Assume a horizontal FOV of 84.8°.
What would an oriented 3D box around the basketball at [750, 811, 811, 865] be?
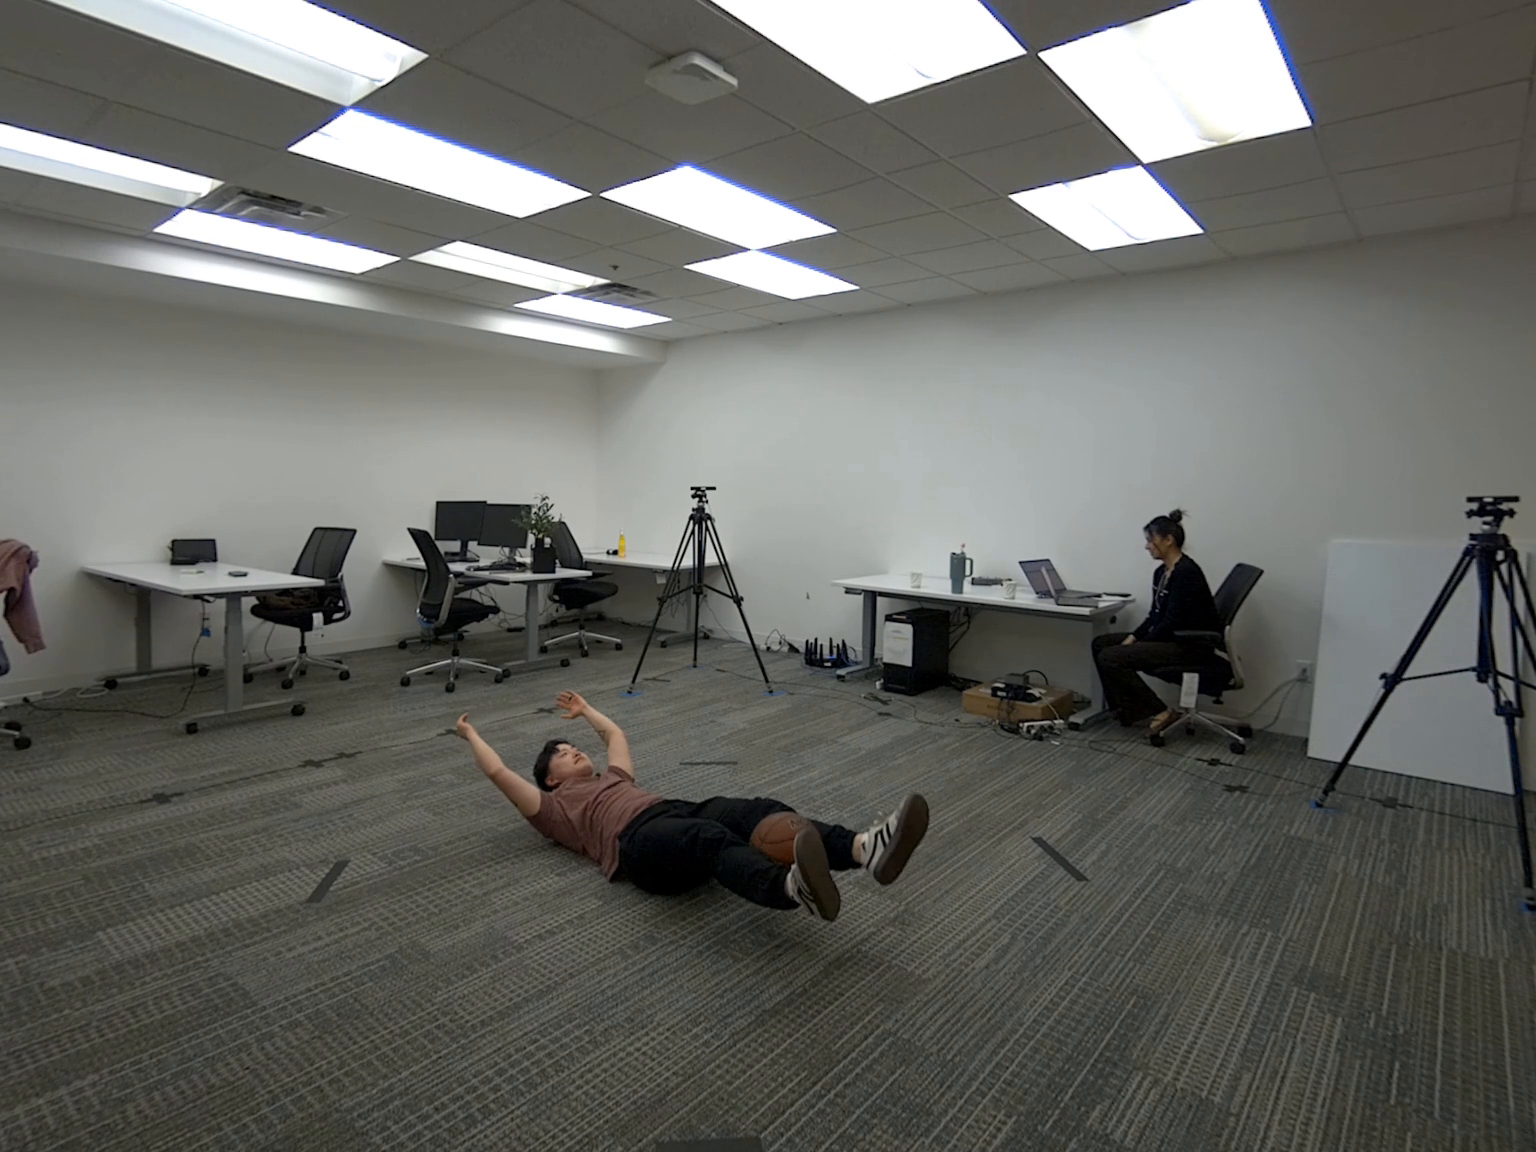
[{"bbox_3d":[0.054,0.846,2.626,0.235,0.235,0.237,1,5,-2],"label":"basketball"}]
